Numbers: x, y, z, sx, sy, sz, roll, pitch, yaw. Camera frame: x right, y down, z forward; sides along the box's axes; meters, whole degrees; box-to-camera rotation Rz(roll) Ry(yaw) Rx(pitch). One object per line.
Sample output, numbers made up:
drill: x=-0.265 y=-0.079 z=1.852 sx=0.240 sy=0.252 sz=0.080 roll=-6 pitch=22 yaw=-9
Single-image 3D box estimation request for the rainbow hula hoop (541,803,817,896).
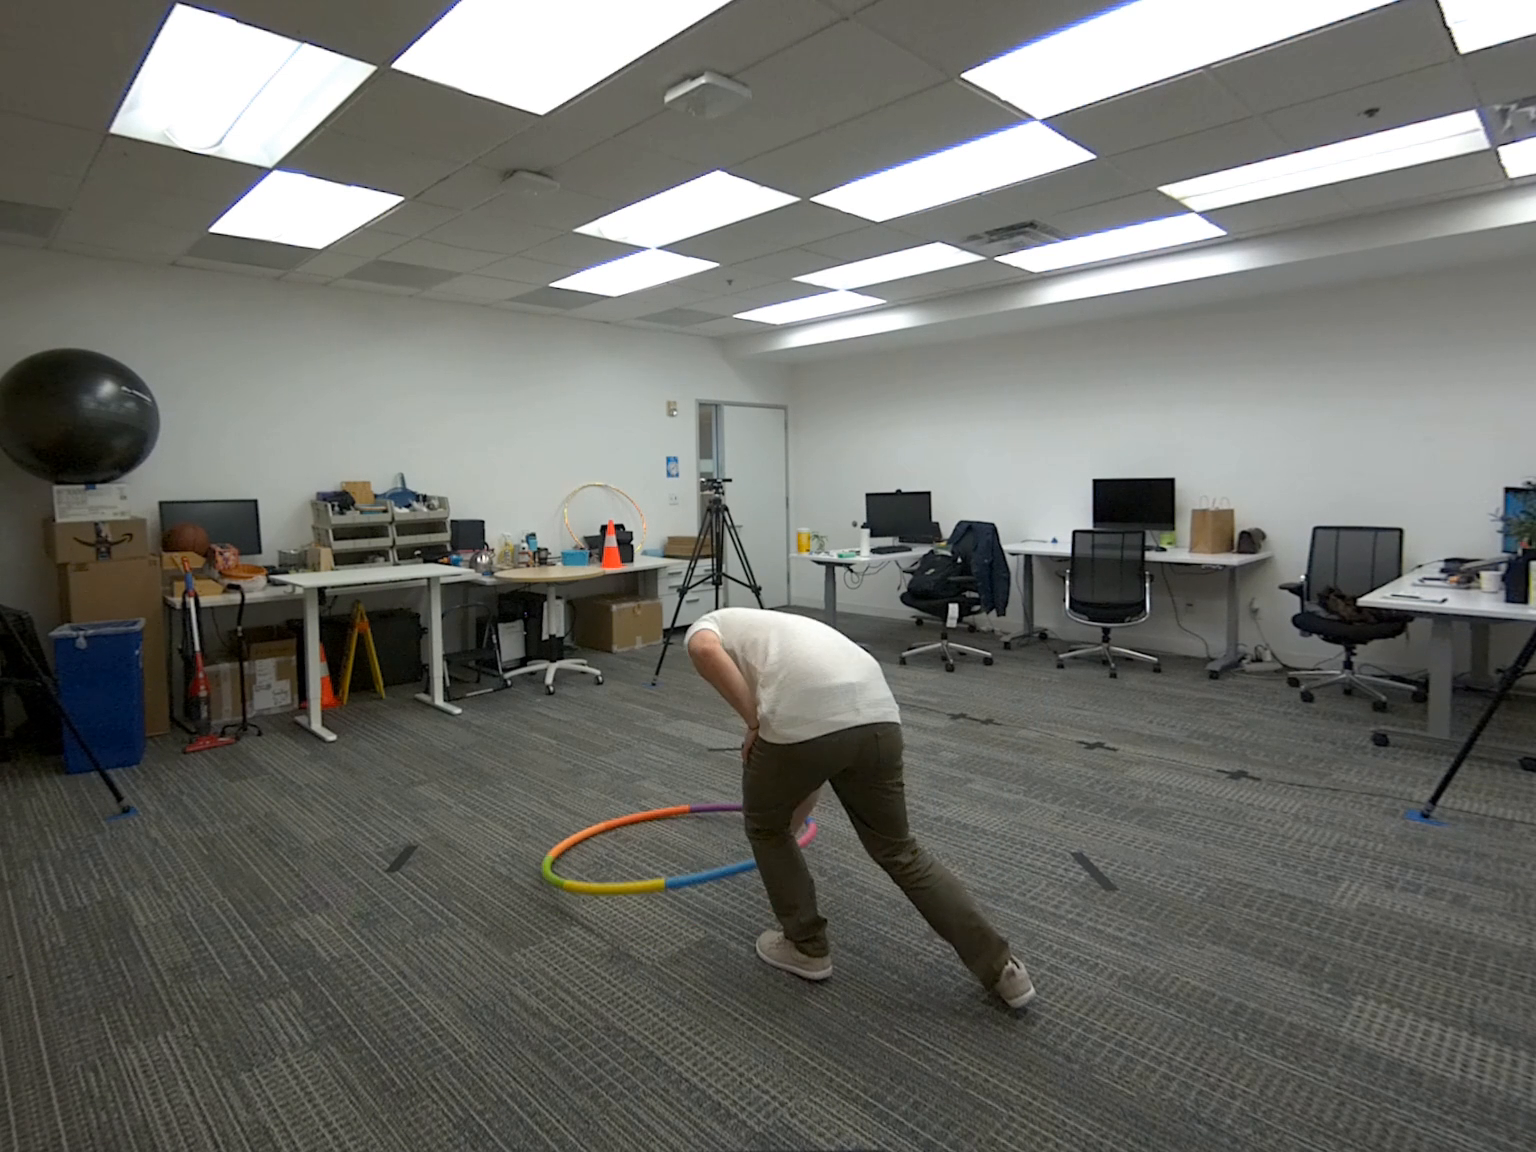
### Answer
rainbow hula hoop: x=-0.306 y=0.934 z=3.064 sx=0.977 sy=0.035 sz=0.977 roll=-7 pitch=-1 yaw=-2
